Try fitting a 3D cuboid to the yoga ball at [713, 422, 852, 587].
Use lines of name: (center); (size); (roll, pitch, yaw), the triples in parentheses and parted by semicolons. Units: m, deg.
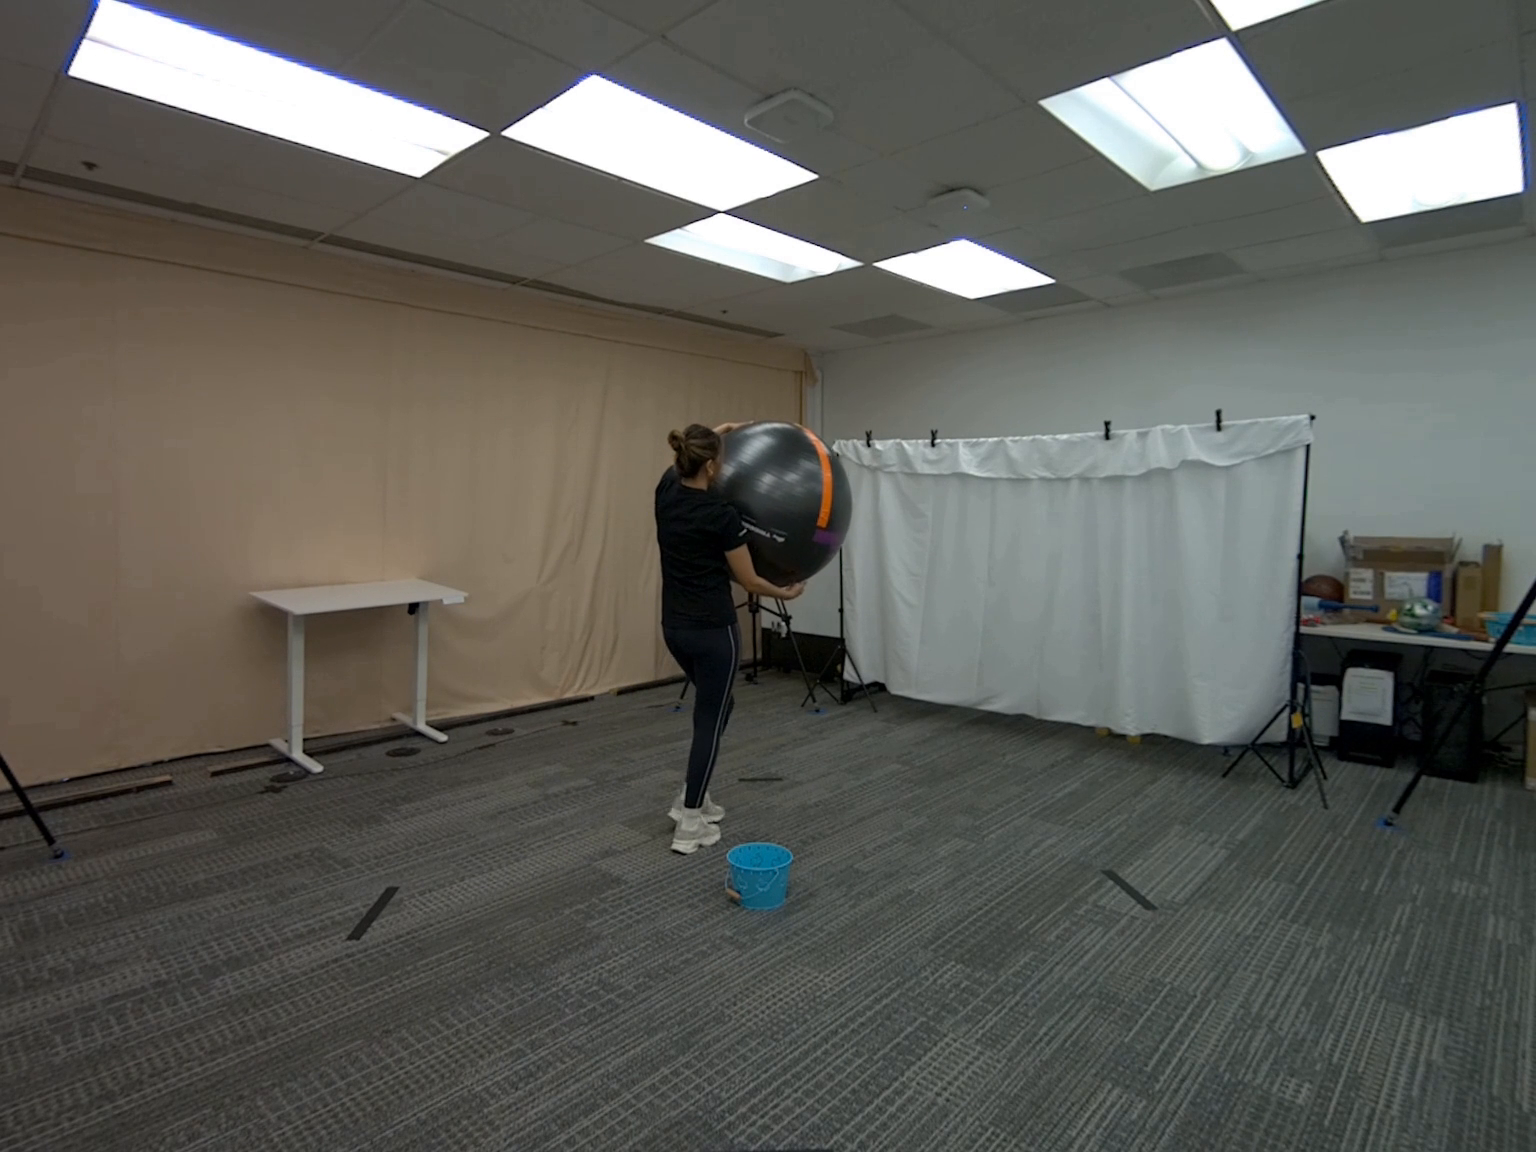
yoga ball: (0.022, -0.312, 3.833); (0.757, 0.756, 0.761); (0, 4, -2)
